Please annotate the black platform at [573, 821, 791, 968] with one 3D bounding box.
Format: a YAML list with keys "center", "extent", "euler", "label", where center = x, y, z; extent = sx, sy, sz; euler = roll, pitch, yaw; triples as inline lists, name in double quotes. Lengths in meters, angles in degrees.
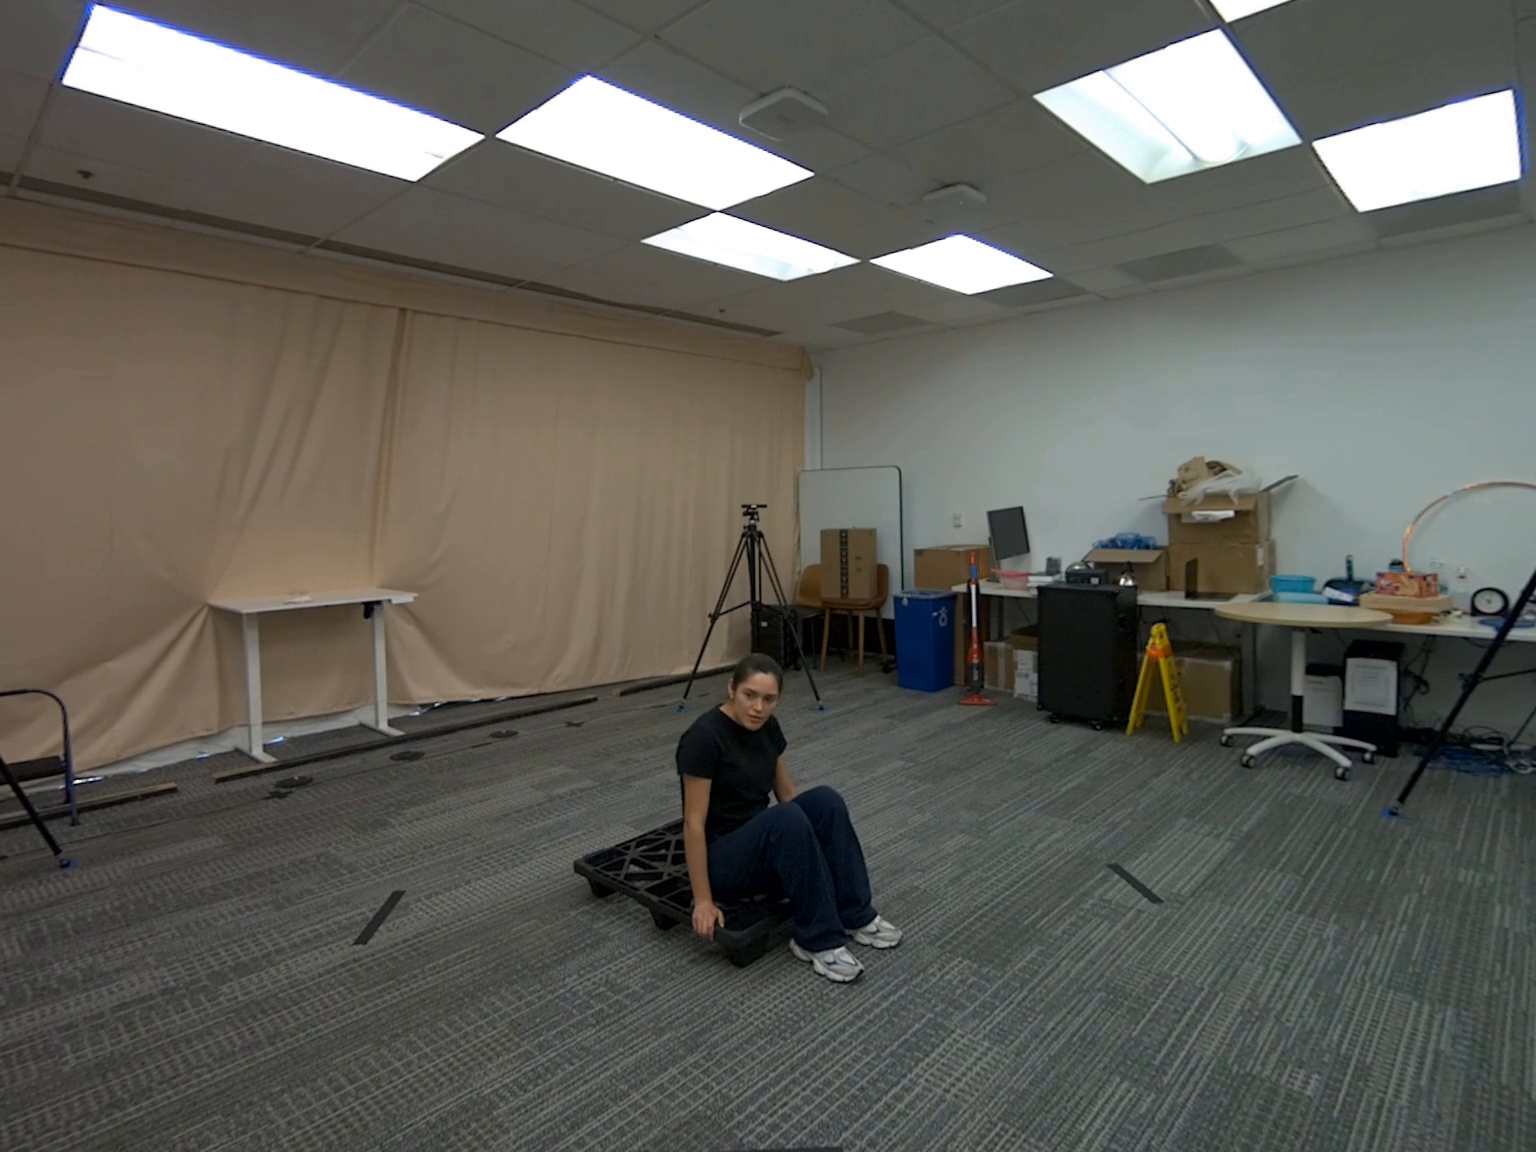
- center: [-0.193, 1.083, 2.943]
  extent: [0.832, 0.143, 0.587]
  euler: [4, 8, 42]
  label: "black platform"
